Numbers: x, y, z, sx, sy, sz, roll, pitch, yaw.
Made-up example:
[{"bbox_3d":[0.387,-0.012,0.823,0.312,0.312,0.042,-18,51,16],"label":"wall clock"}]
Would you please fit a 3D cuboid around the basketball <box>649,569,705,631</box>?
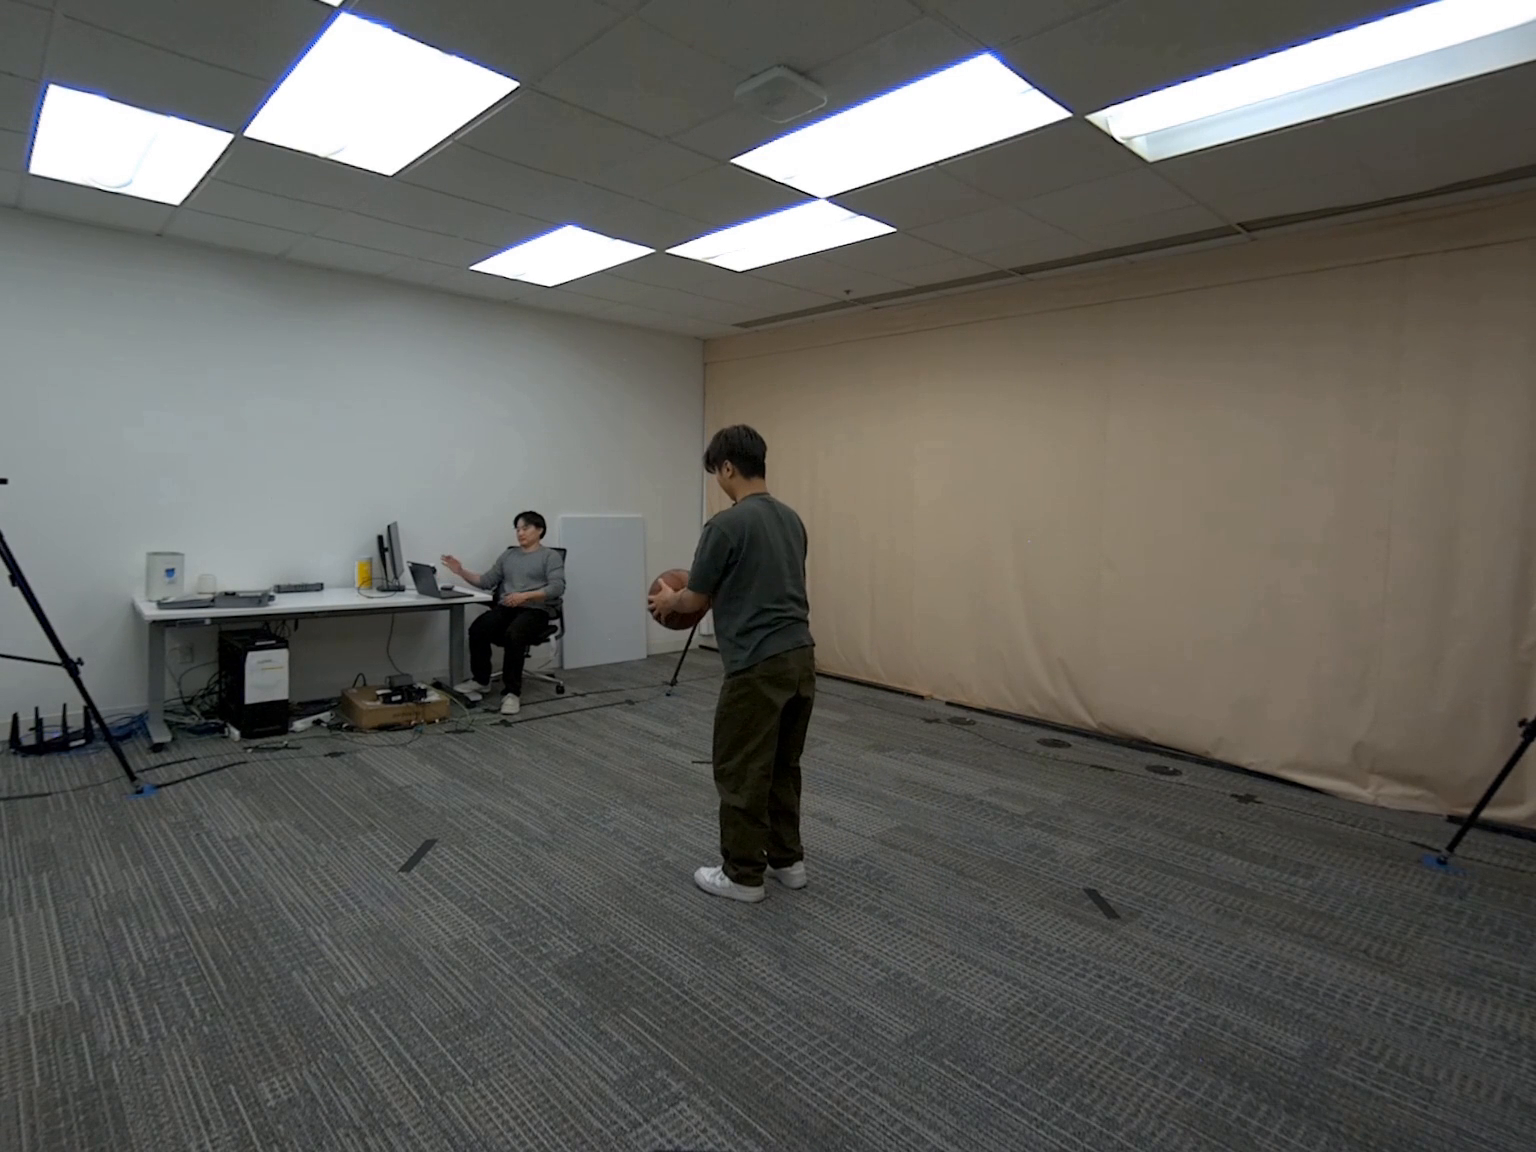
[{"bbox_3d":[-0.349,0.093,3.272,0.236,0.235,0.237,1,4,-1],"label":"basketball"}]
